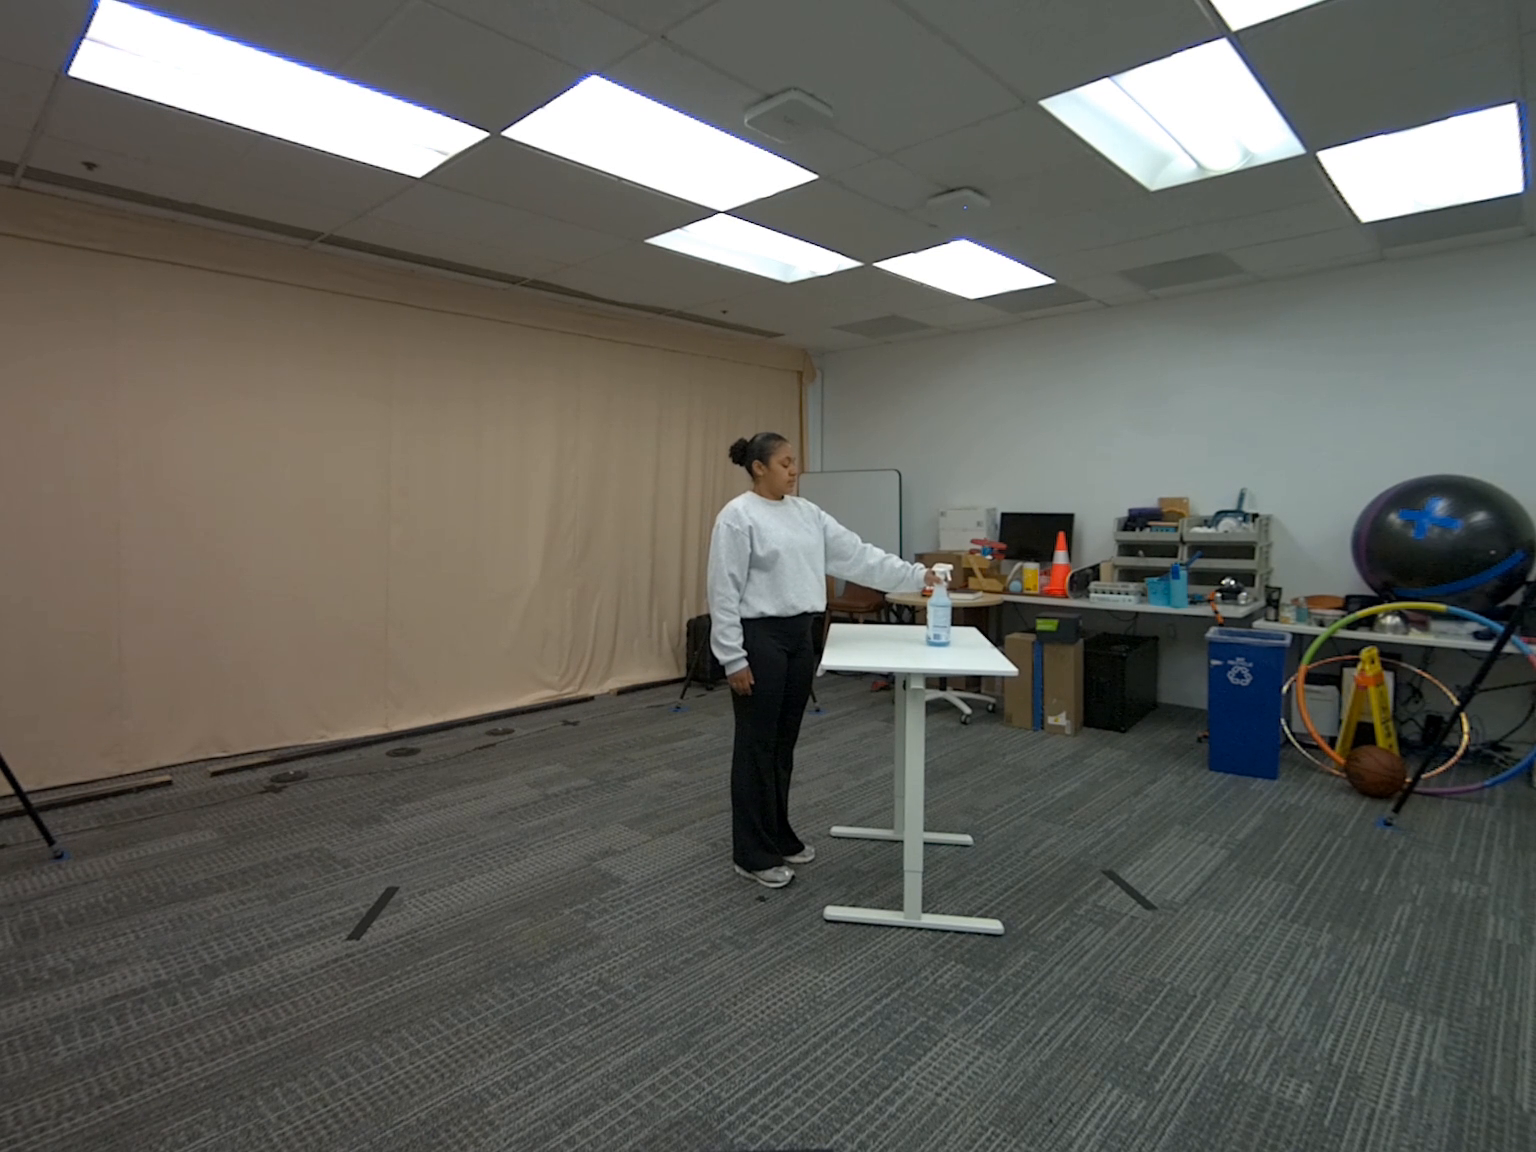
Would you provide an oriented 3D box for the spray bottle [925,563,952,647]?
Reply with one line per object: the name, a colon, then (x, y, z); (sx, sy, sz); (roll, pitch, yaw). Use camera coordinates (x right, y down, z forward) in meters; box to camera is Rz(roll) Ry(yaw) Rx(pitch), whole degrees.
spray bottle: (0.622, 0.093, 3.046); (0.086, 0.296, 0.091); (-1, 9, -7)
